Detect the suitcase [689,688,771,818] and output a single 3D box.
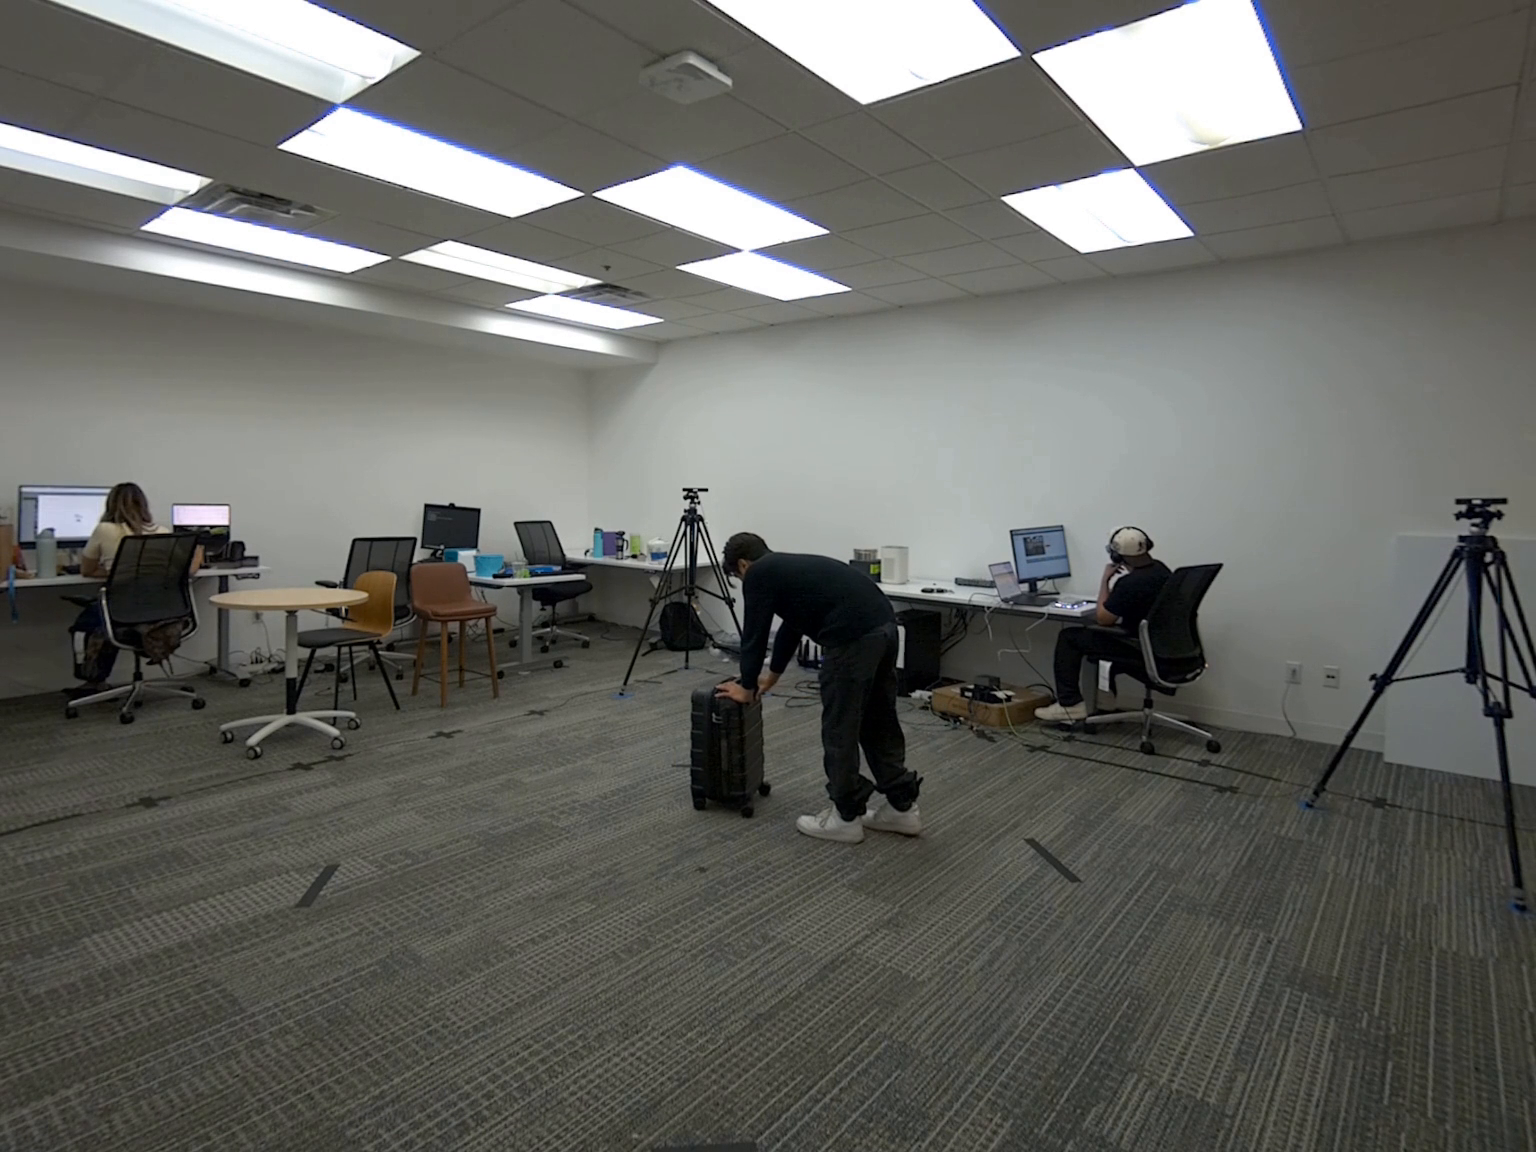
[{"bbox_3d":[-0.190,0.728,3.798,0.254,0.548,0.368,1,3,20],"label":"suitcase"}]
